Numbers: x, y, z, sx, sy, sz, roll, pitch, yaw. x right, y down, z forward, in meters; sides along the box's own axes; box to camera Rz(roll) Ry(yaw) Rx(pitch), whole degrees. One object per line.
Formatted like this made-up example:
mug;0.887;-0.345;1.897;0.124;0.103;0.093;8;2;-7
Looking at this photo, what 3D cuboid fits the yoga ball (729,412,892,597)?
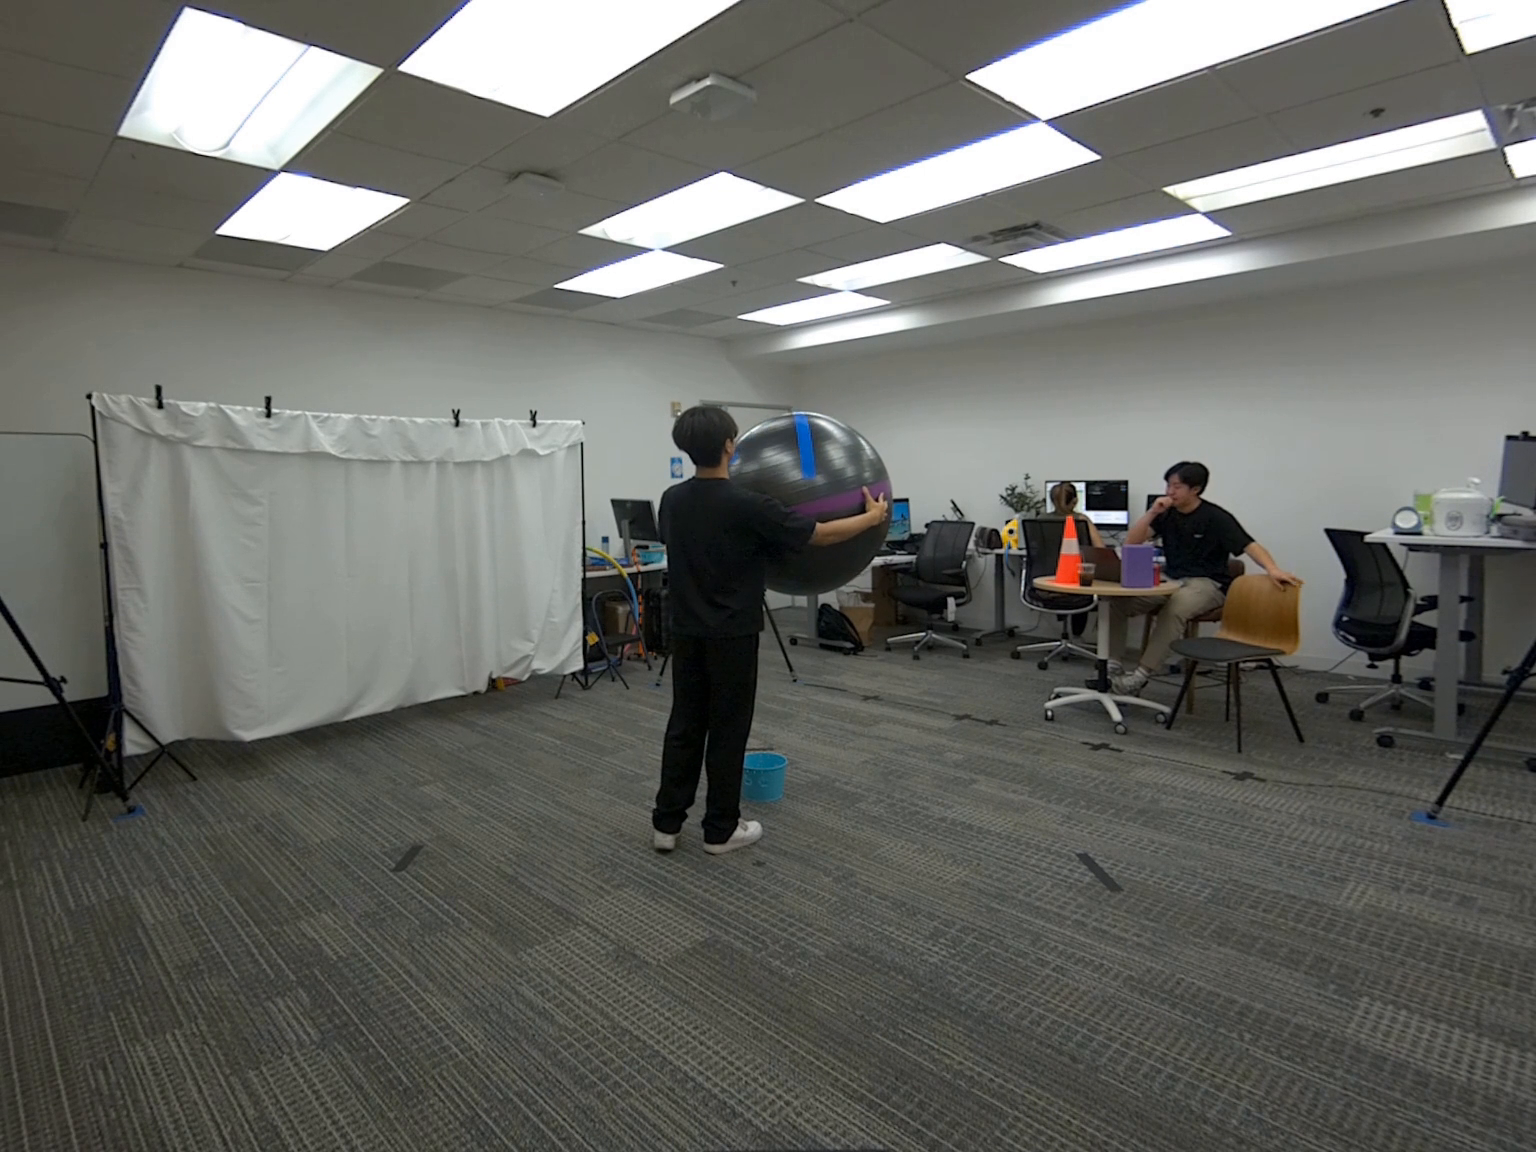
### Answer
yoga ball;0.142;-0.300;3.601;0.757;0.755;0.762;-1;5;-2
